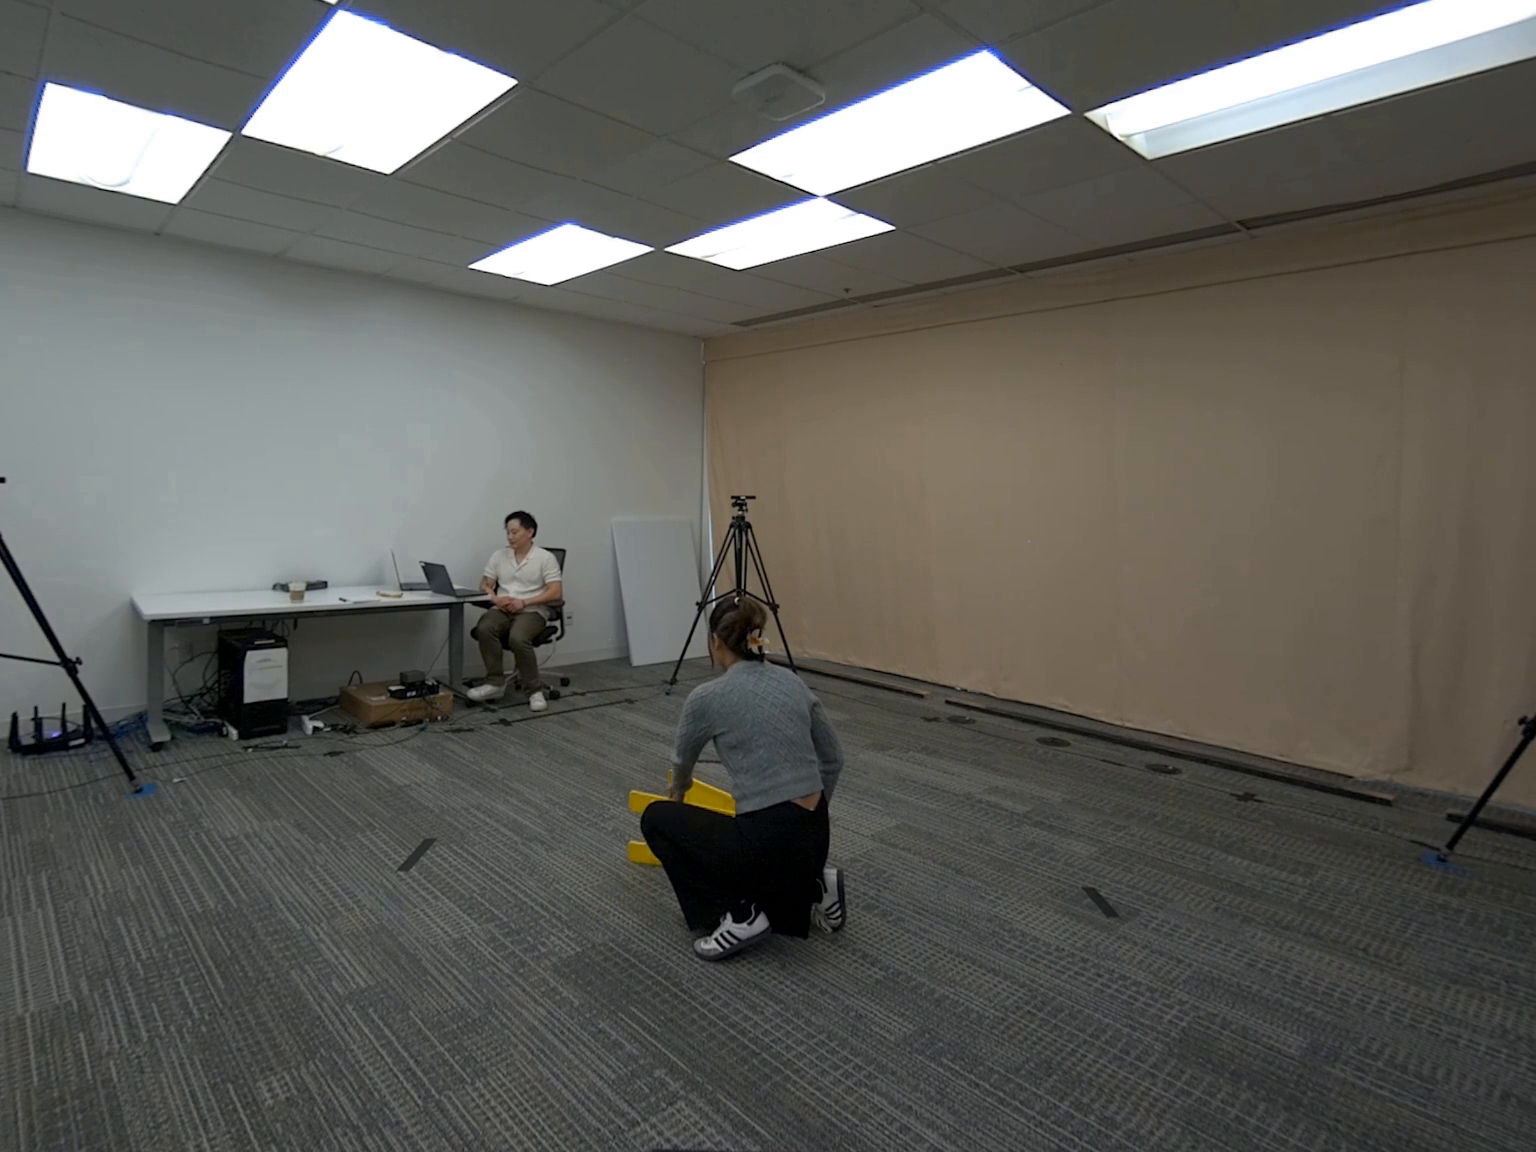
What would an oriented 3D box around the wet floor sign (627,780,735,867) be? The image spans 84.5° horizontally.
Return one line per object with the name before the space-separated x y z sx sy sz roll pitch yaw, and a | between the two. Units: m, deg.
wet floor sign | -0.181 0.975 3.168 0.660 0.281 0.284 7 7 27
